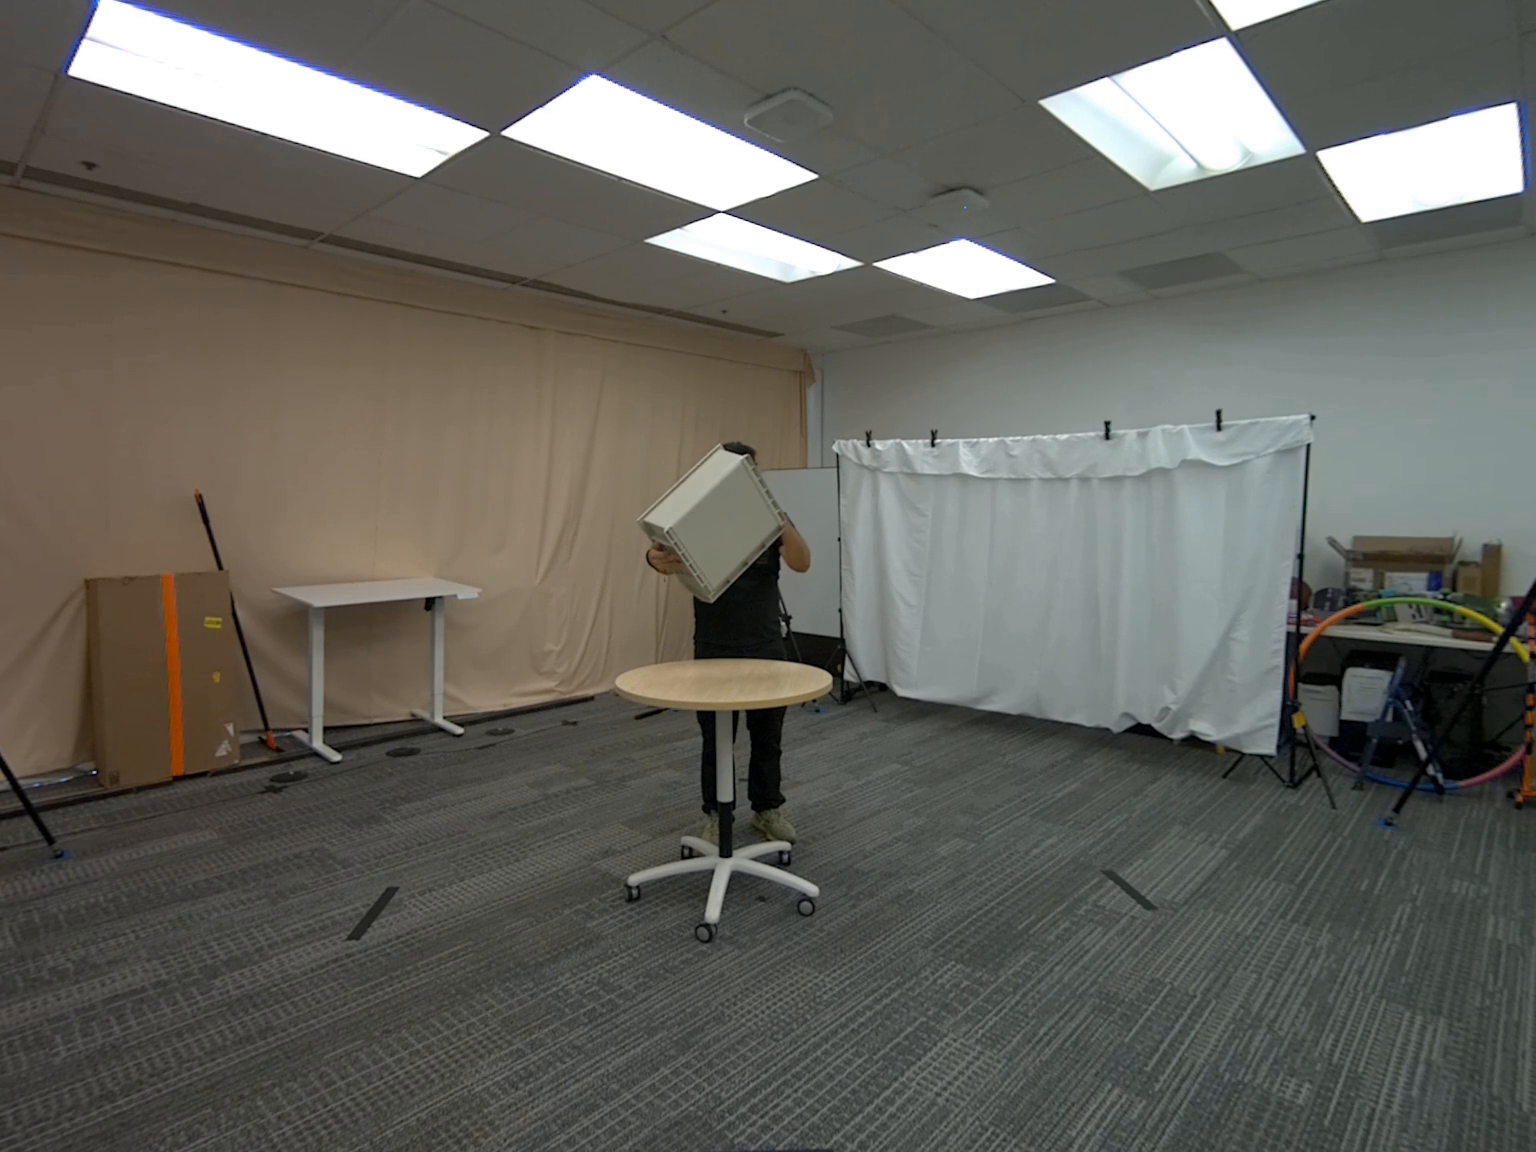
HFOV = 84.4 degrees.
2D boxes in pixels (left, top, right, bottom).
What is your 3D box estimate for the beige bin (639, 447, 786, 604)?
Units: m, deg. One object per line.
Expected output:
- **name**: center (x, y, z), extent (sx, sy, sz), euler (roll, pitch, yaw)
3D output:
- **beige bin**: center (-0.179, -0.177, 3.006), extent (0.420, 0.366, 0.196), euler (-44, 35, -17)
